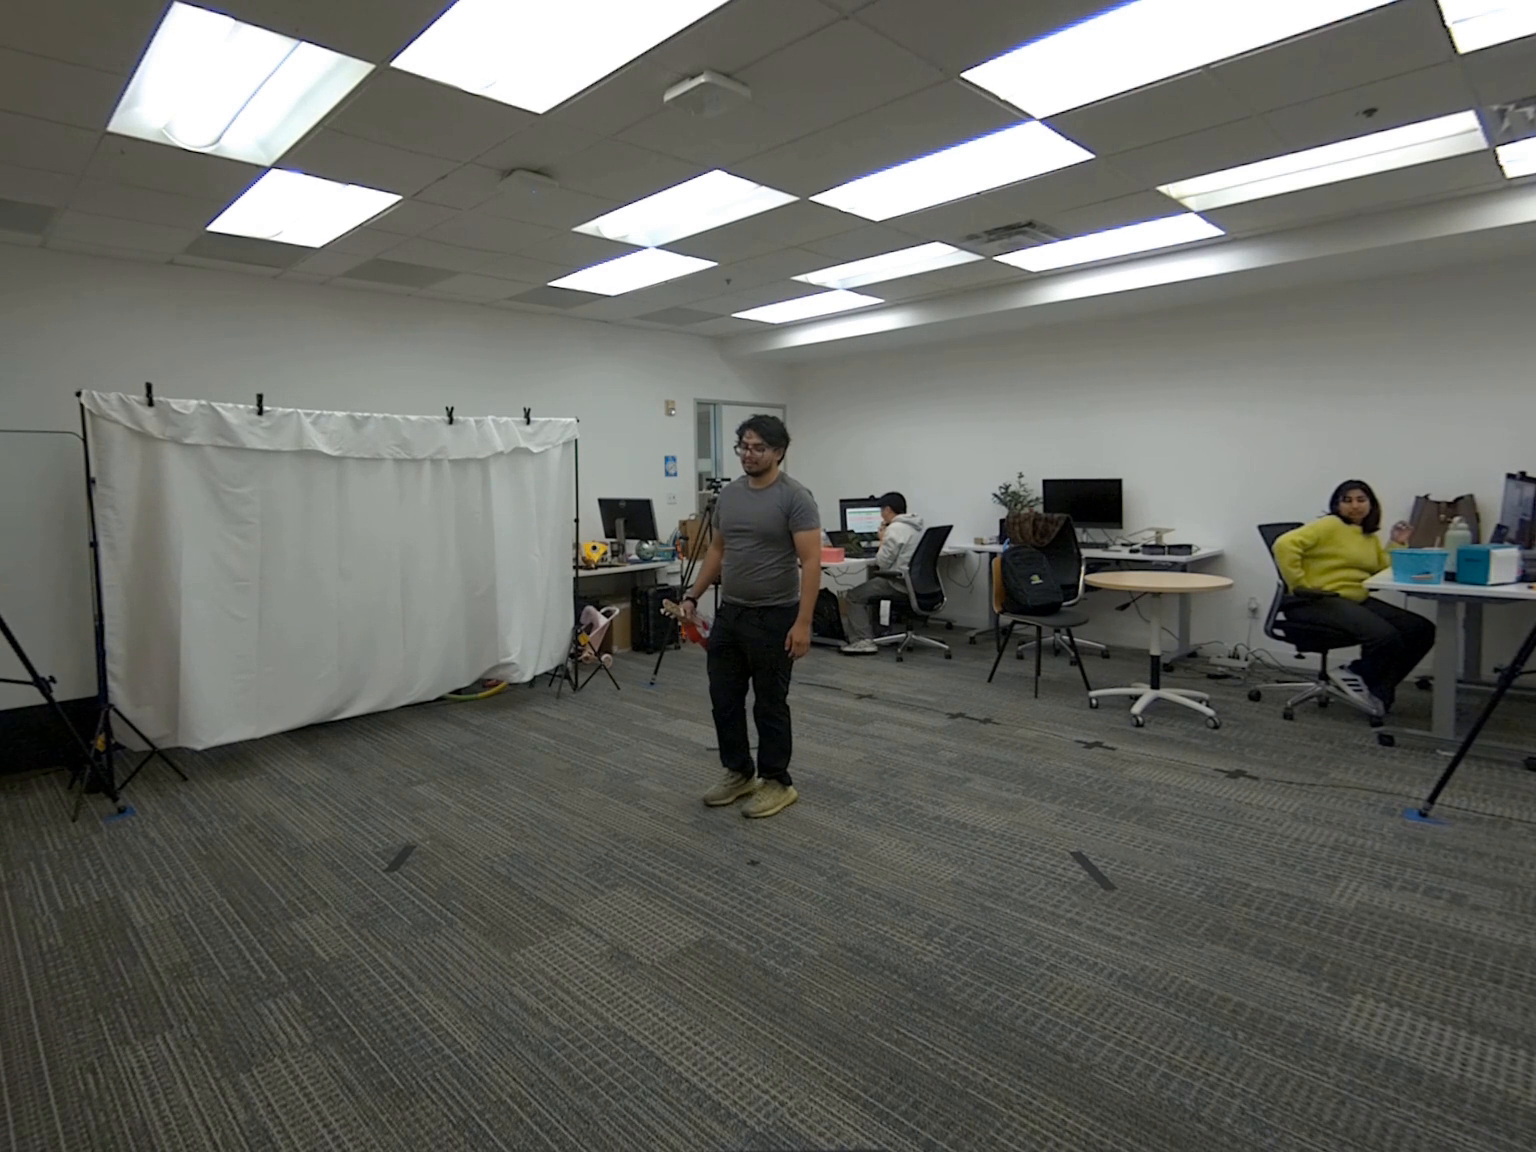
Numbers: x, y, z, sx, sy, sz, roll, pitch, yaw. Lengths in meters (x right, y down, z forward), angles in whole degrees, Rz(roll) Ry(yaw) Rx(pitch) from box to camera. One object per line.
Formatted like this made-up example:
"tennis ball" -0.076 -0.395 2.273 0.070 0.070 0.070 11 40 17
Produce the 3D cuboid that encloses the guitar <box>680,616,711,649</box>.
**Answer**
"guitar" -0.331 0.180 3.744 0.071 0.199 0.478 -25 -40 19
